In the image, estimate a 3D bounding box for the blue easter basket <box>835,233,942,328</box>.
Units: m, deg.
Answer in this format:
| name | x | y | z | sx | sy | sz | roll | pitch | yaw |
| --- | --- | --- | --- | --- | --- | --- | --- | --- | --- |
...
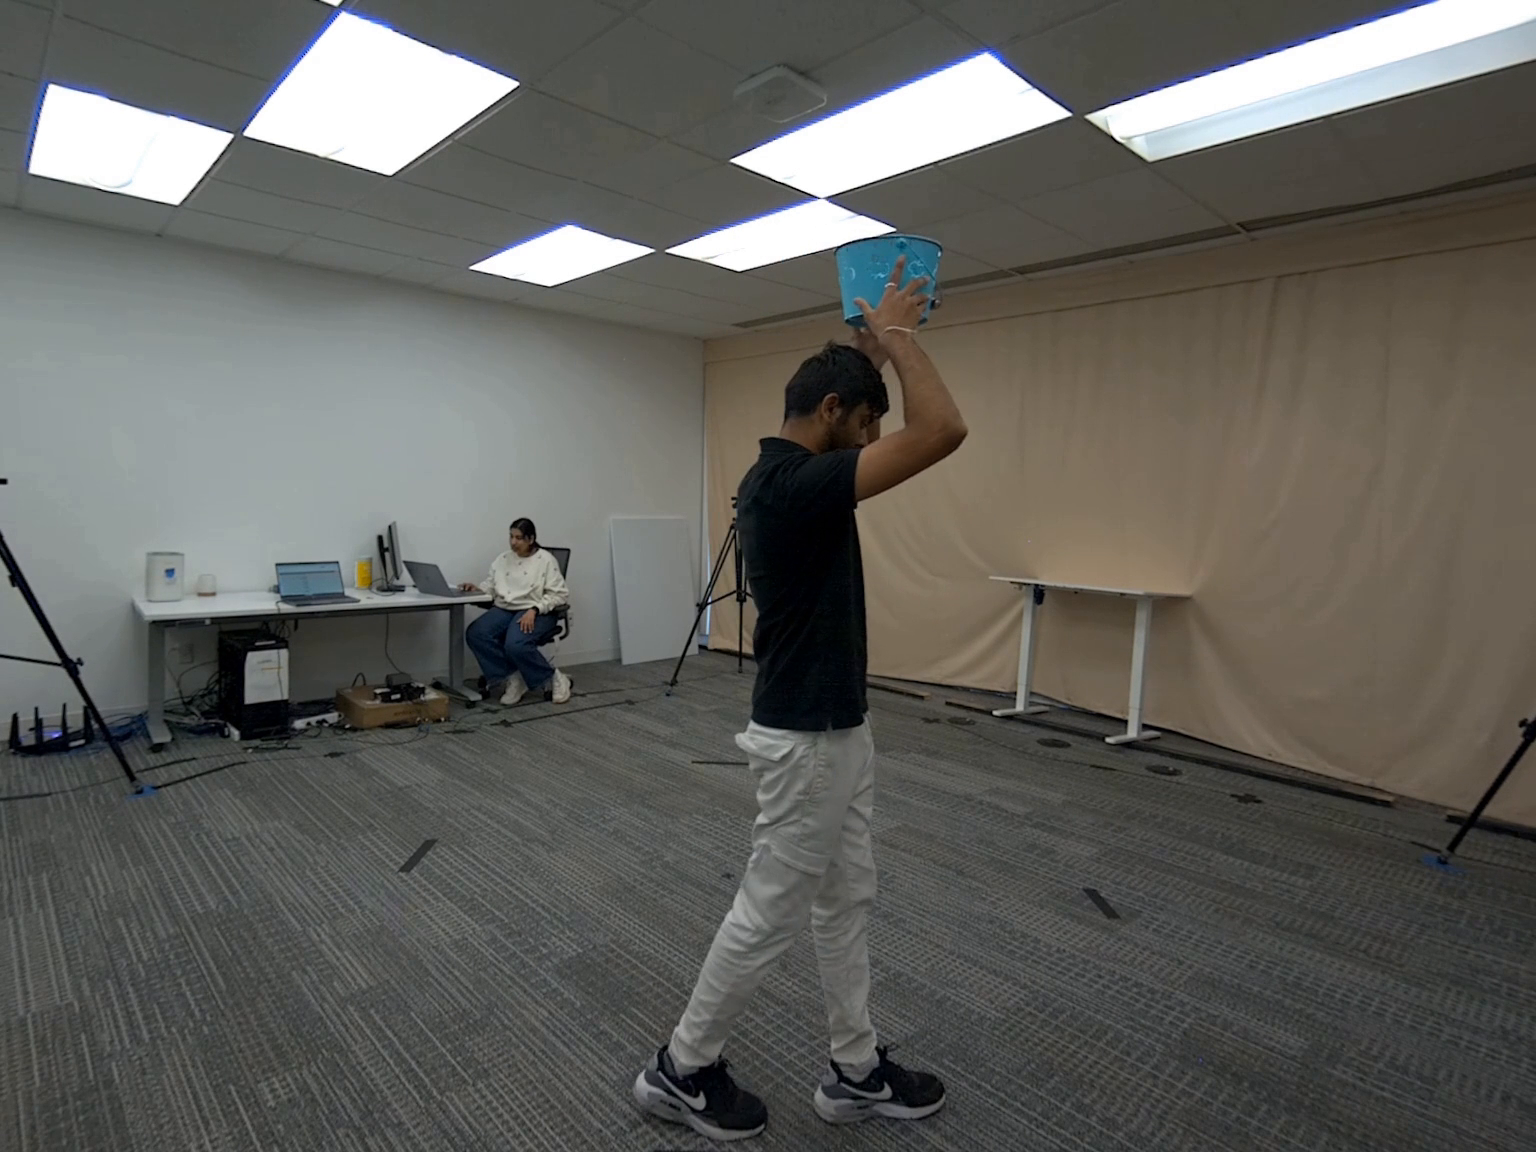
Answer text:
| name | x | y | z | sx | sy | sz | roll | pitch | yaw |
| --- | --- | --- | --- | --- | --- | --- | --- | --- | --- |
| blue easter basket | 0.255 | -0.638 | 1.816 | 0.243 | 0.155 | 0.244 | 5 | 4 | -2 |
